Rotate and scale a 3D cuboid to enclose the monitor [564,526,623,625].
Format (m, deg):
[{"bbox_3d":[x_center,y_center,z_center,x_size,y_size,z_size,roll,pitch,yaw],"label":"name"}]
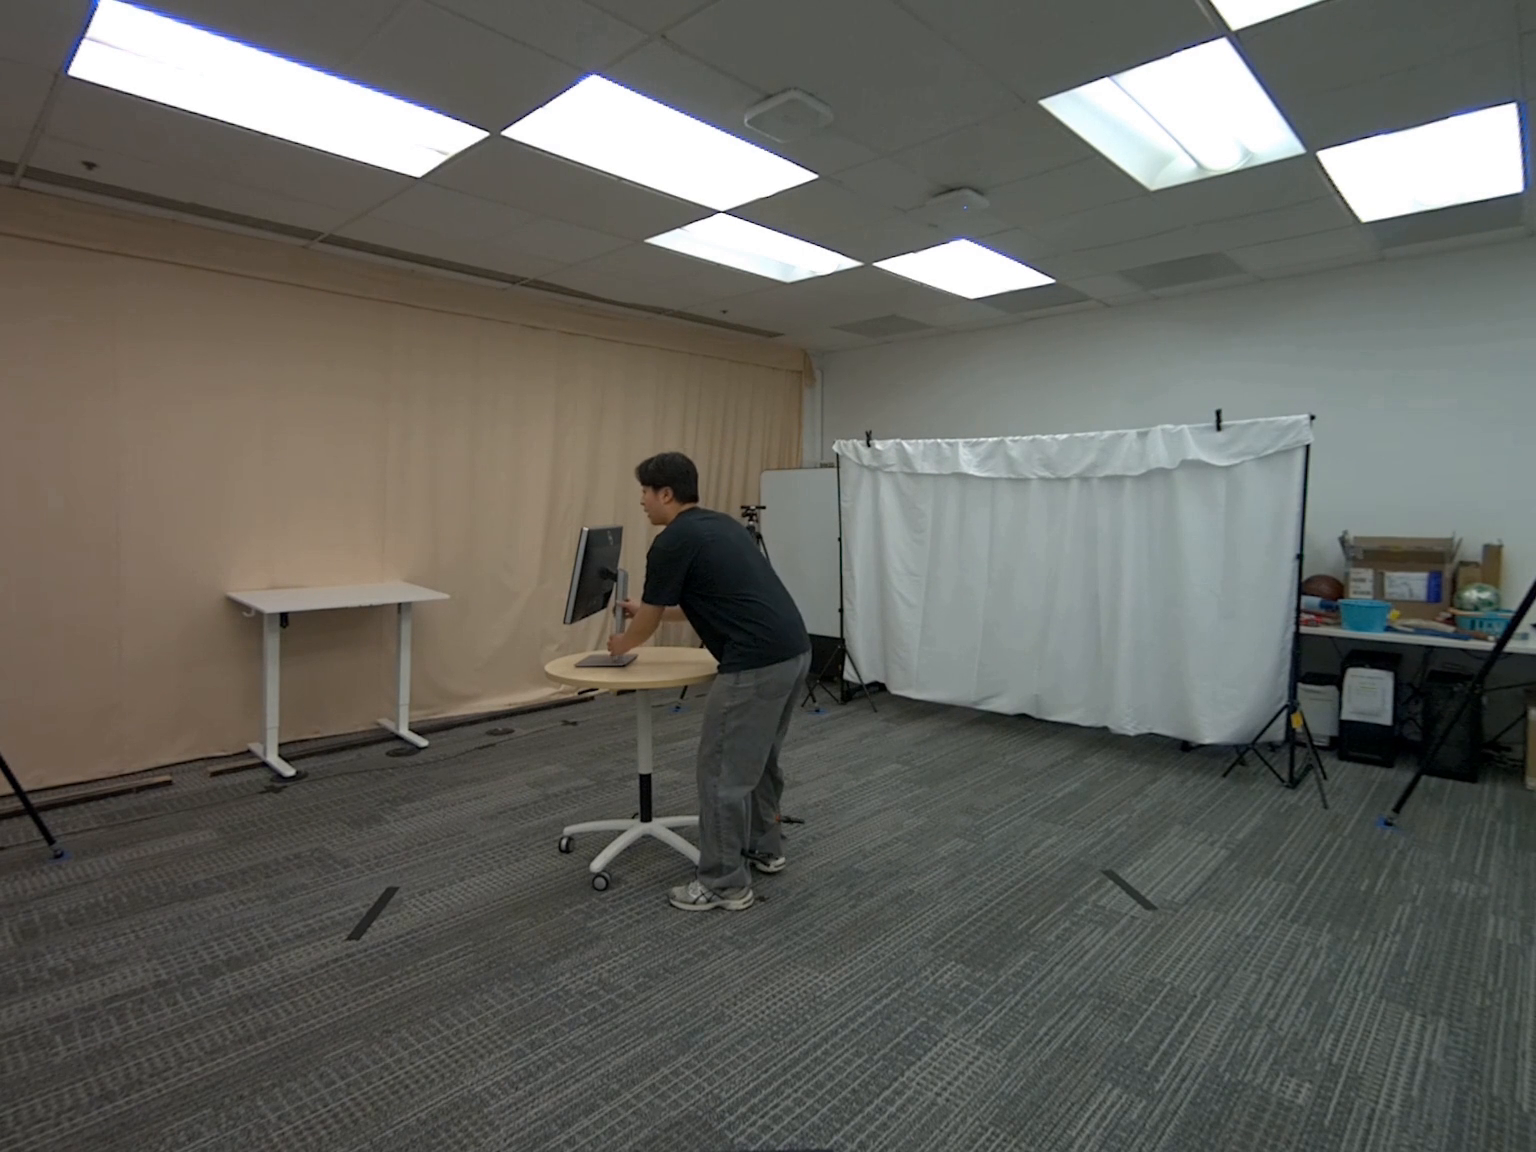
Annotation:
[{"bbox_3d":[-0.658,0.084,3.346,0.224,0.565,0.558,-3,3,7],"label":"monitor"}]
